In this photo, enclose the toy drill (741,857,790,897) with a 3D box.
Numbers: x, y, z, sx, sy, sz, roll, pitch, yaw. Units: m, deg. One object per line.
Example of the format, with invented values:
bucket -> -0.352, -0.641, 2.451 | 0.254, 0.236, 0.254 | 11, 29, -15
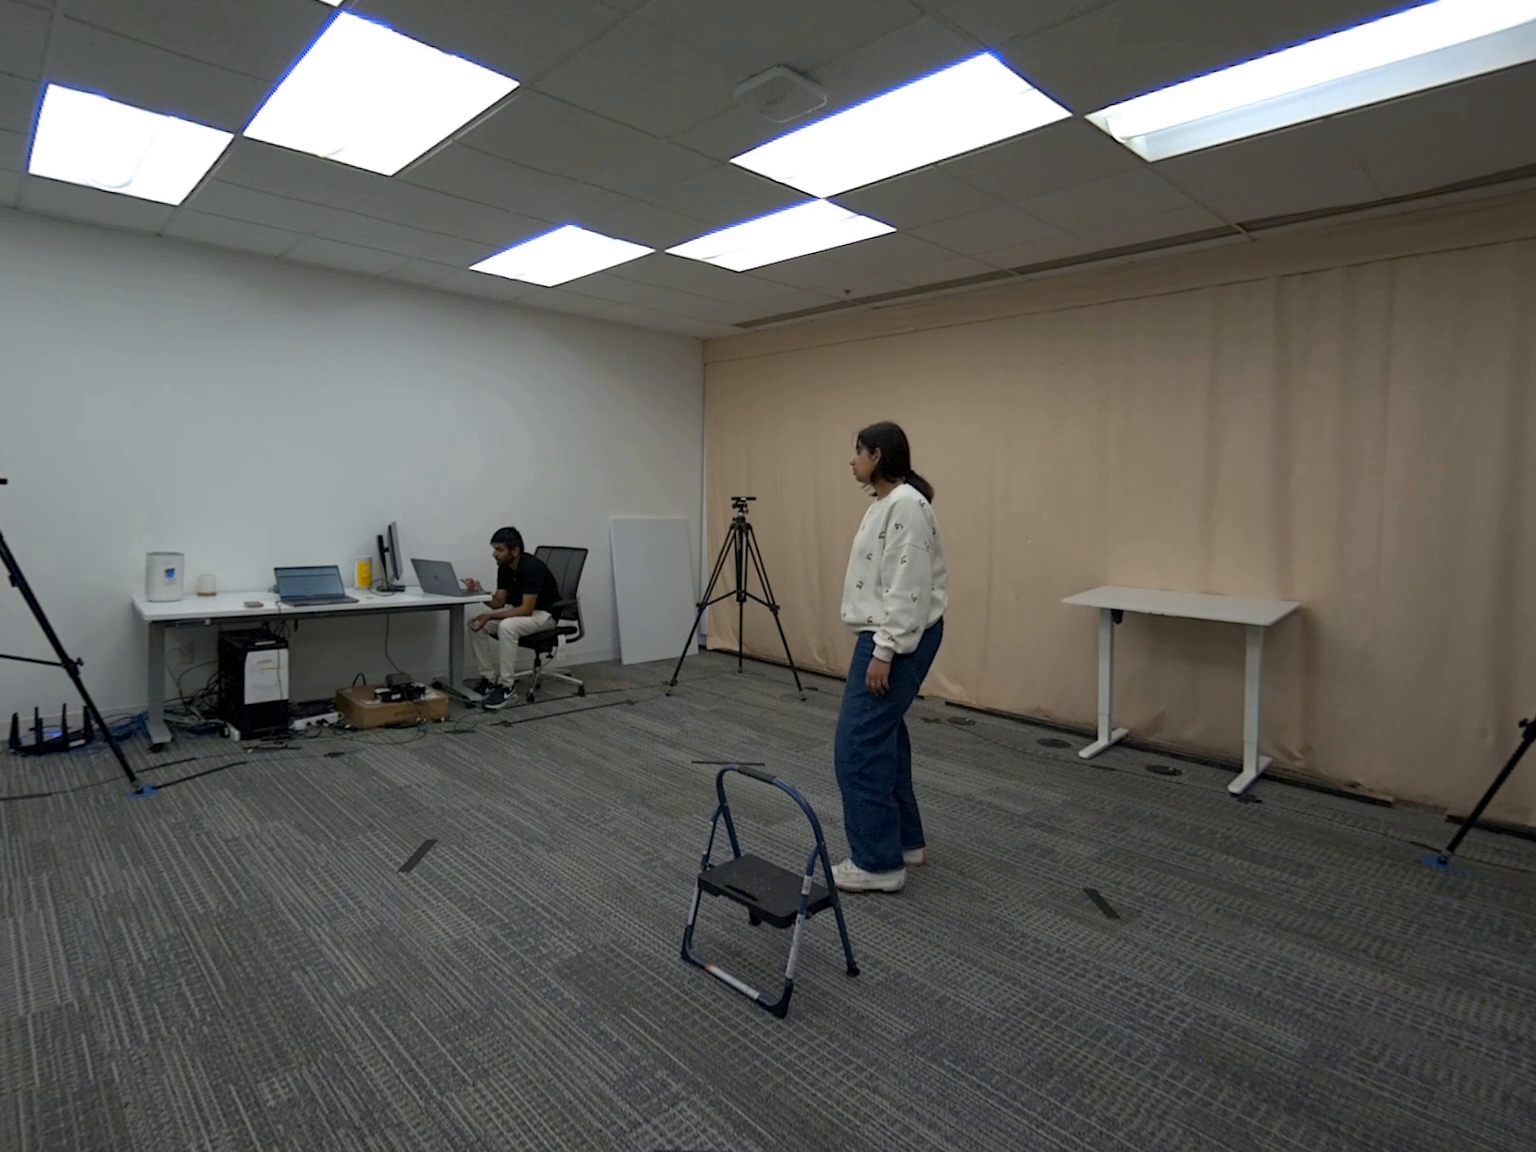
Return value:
toy drill -> -0.014, 1.090, 3.074 | 0.145, 0.061, 0.171 | 1, 5, -9
